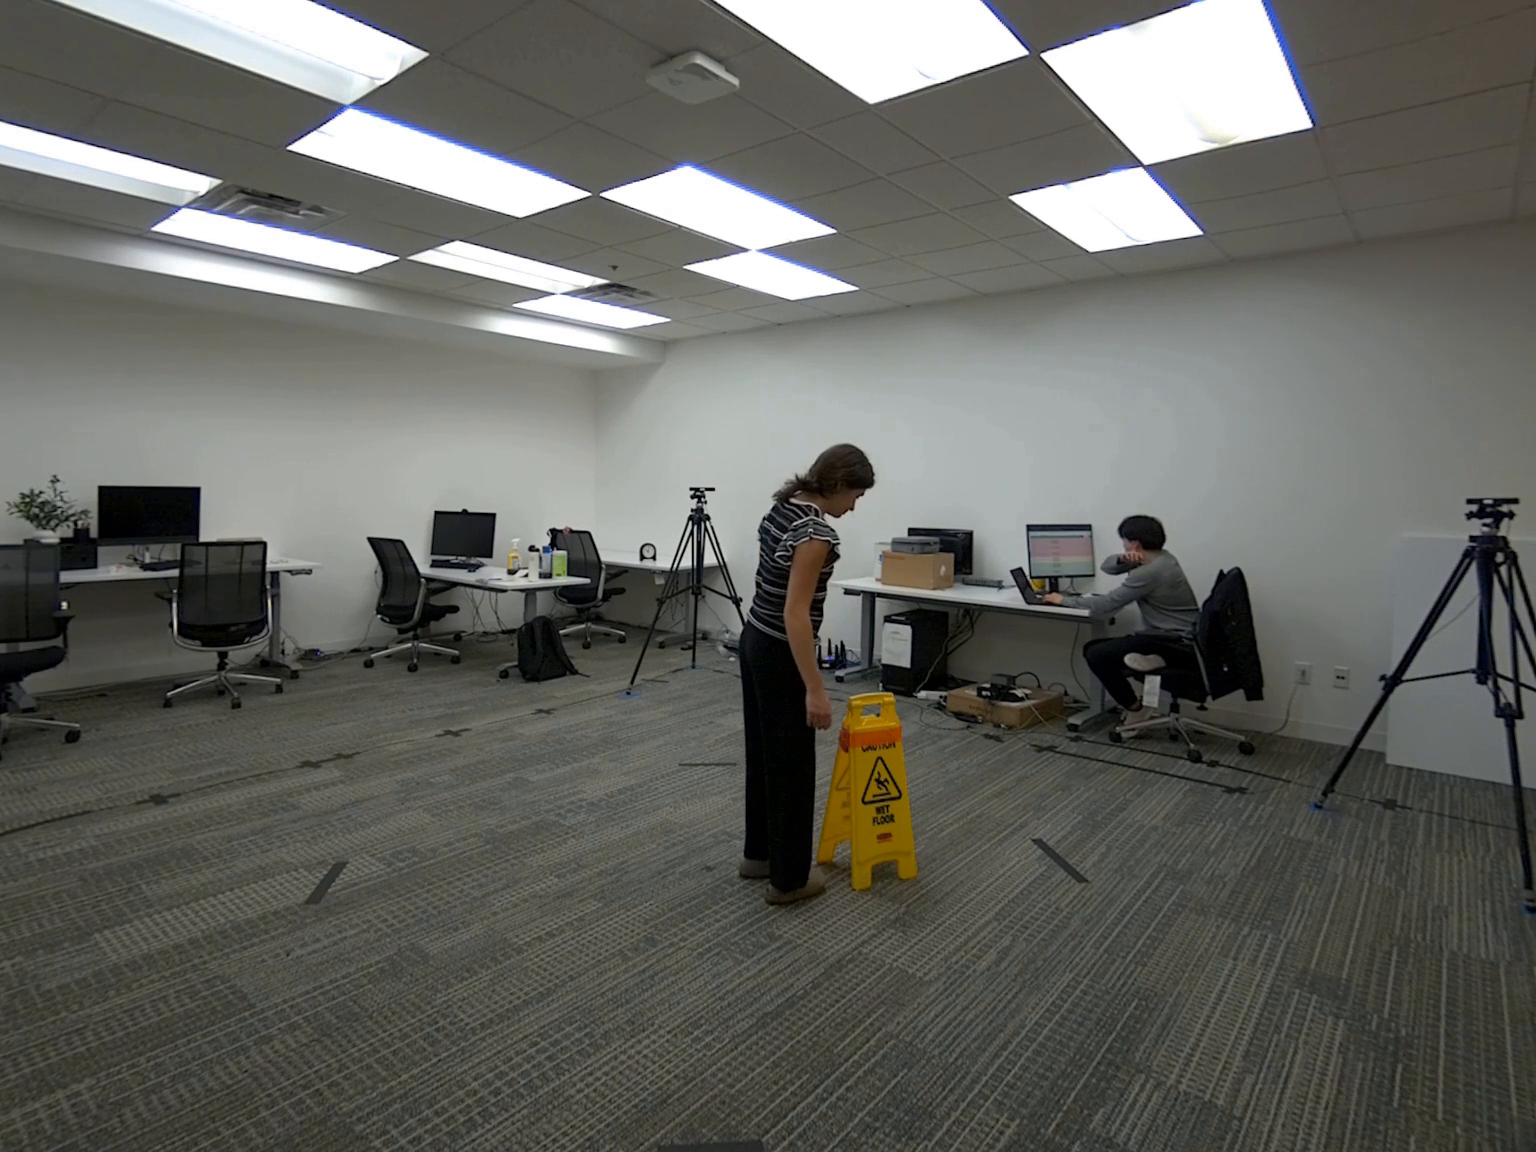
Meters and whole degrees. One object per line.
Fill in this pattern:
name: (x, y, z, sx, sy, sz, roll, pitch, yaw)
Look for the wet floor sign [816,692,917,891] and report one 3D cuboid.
wet floor sign: (0.363, 0.756, 3.113, 0.275, 0.644, 0.298, 0, 4, -28)
